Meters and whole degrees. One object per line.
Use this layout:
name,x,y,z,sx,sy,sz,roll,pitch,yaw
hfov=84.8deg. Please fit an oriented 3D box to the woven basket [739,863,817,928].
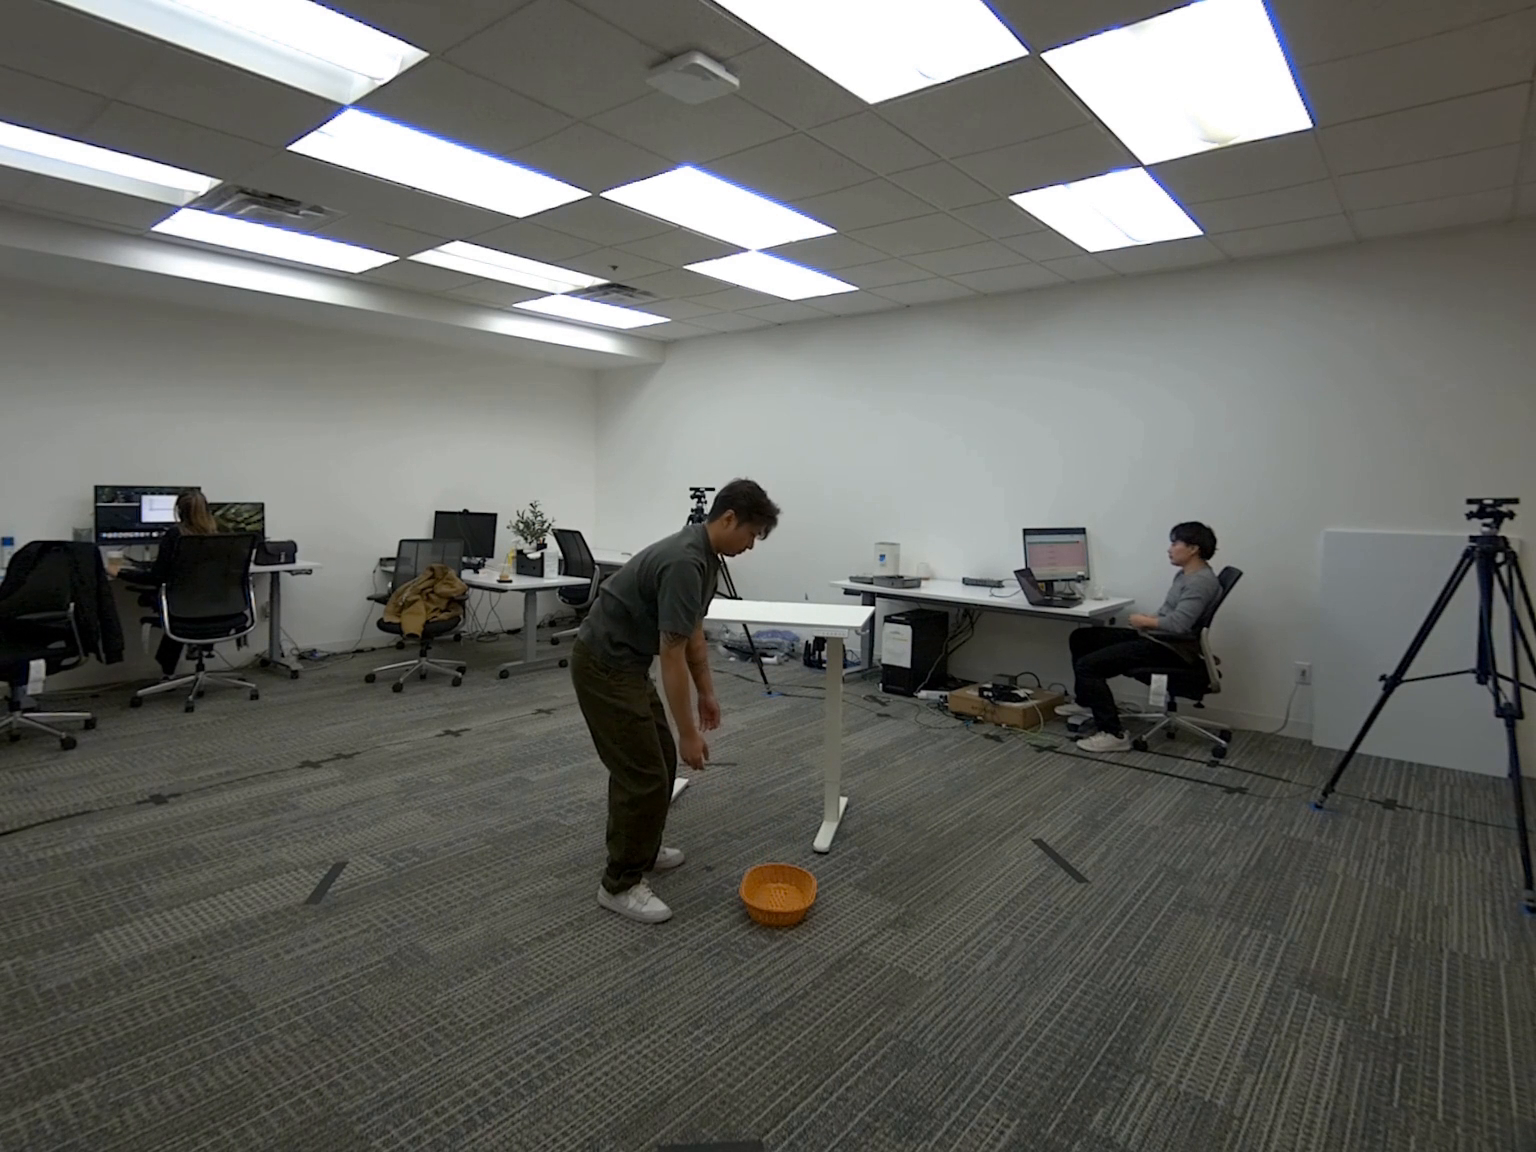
woven basket,0.027,1.062,2.835,0.256,0.073,0.347,3,6,11
